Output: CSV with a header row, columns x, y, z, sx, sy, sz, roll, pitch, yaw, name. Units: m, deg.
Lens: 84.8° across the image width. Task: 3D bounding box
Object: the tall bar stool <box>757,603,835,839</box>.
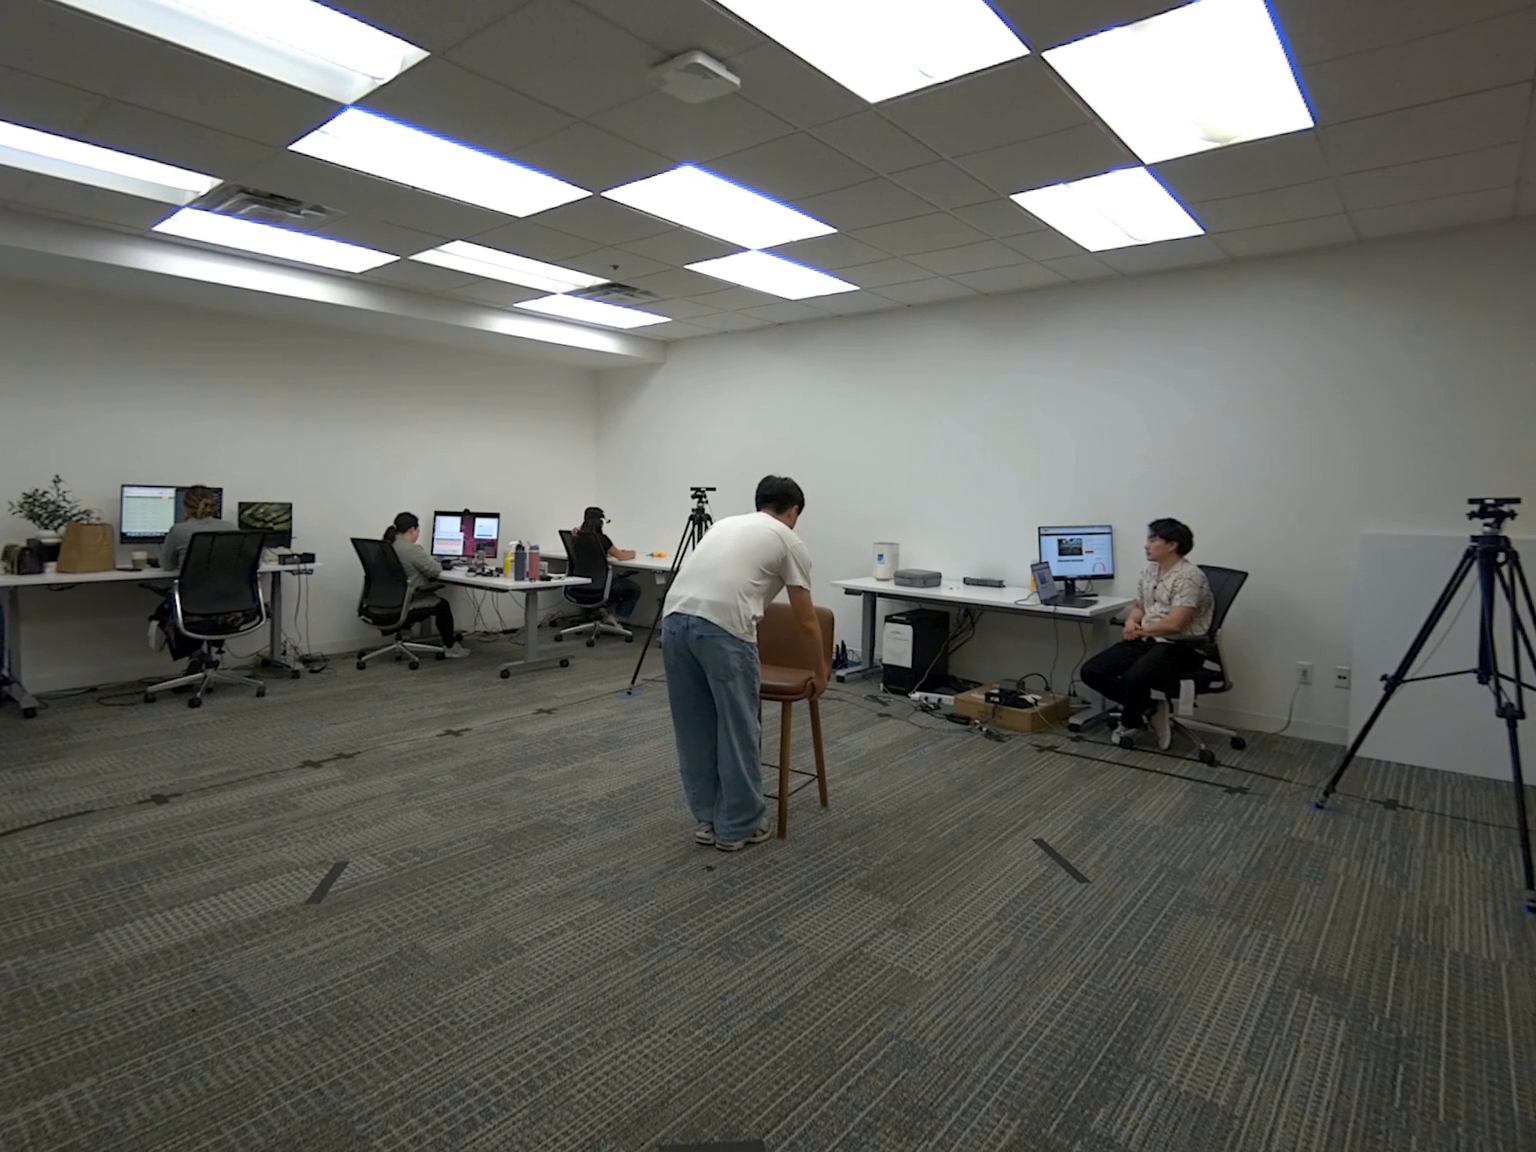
x,y,z,sx,sy,sz,roll,pitch,yaw,name
0.000,0.578,3.664,0.470,0.889,0.454,3,1,32,tall bar stool
